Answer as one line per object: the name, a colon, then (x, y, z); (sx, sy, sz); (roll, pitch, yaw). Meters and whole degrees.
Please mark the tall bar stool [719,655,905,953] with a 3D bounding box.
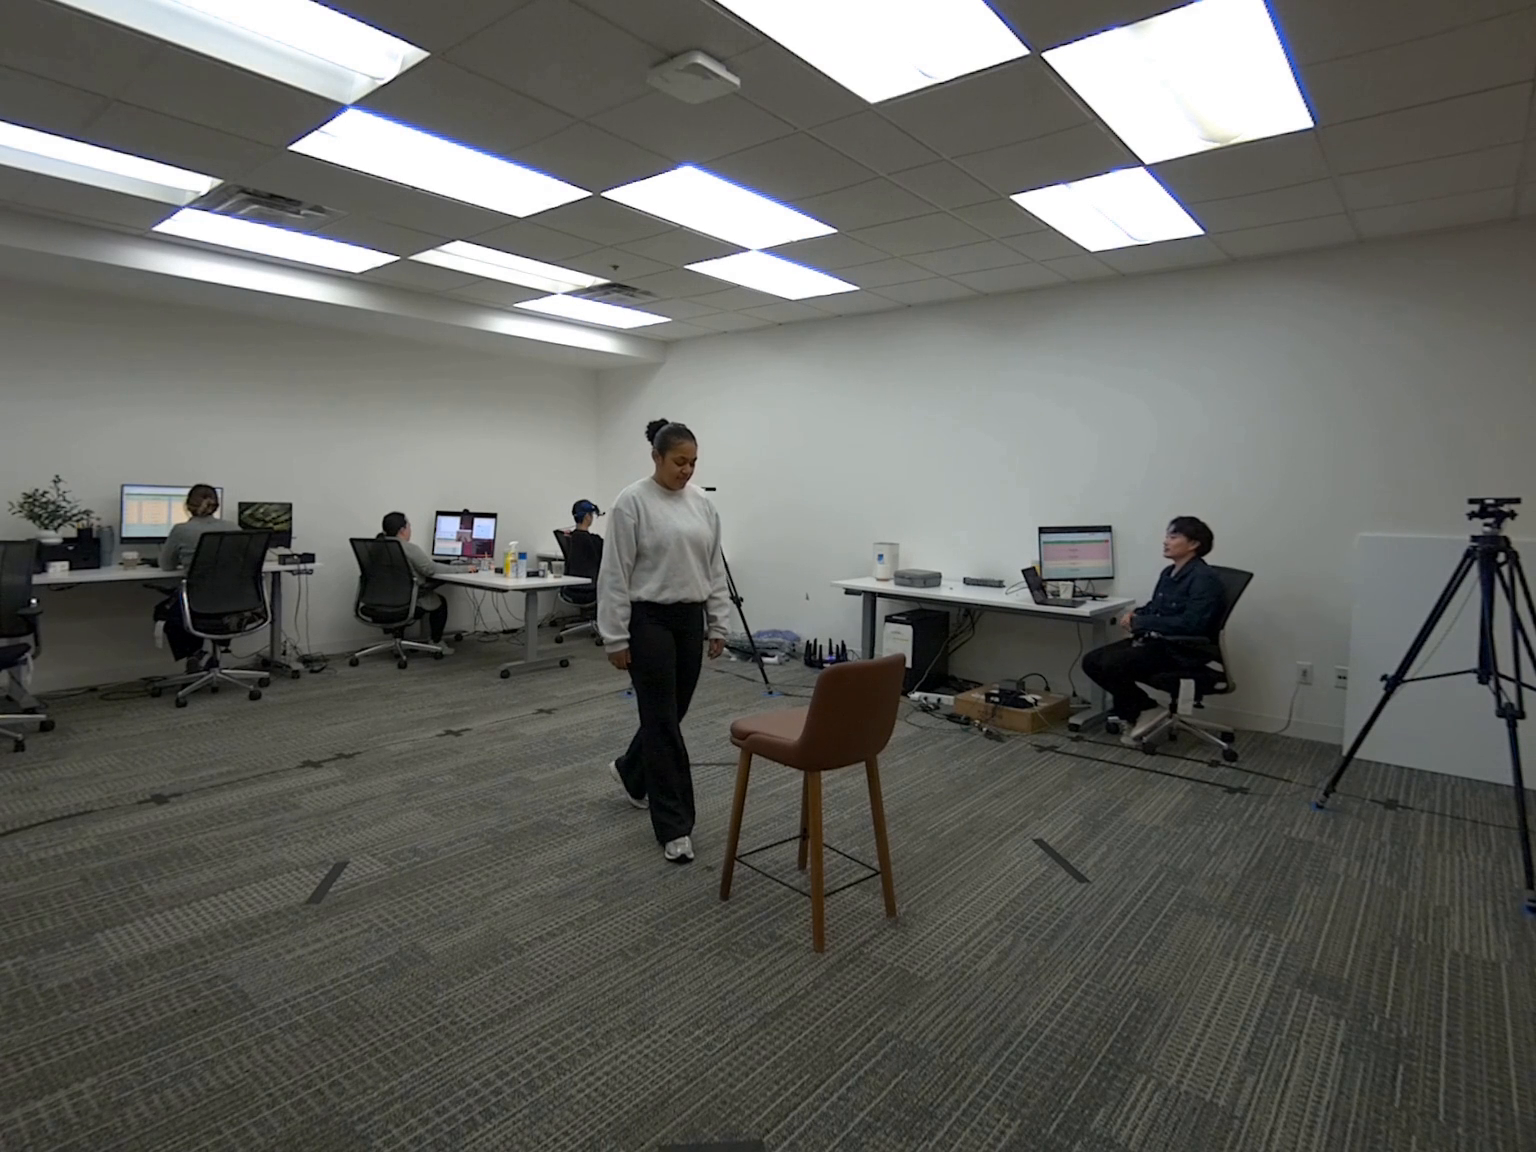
tall bar stool: (0.147, 0.666, 2.815); (0.442, 0.886, 0.484); (-1, 6, -42)
